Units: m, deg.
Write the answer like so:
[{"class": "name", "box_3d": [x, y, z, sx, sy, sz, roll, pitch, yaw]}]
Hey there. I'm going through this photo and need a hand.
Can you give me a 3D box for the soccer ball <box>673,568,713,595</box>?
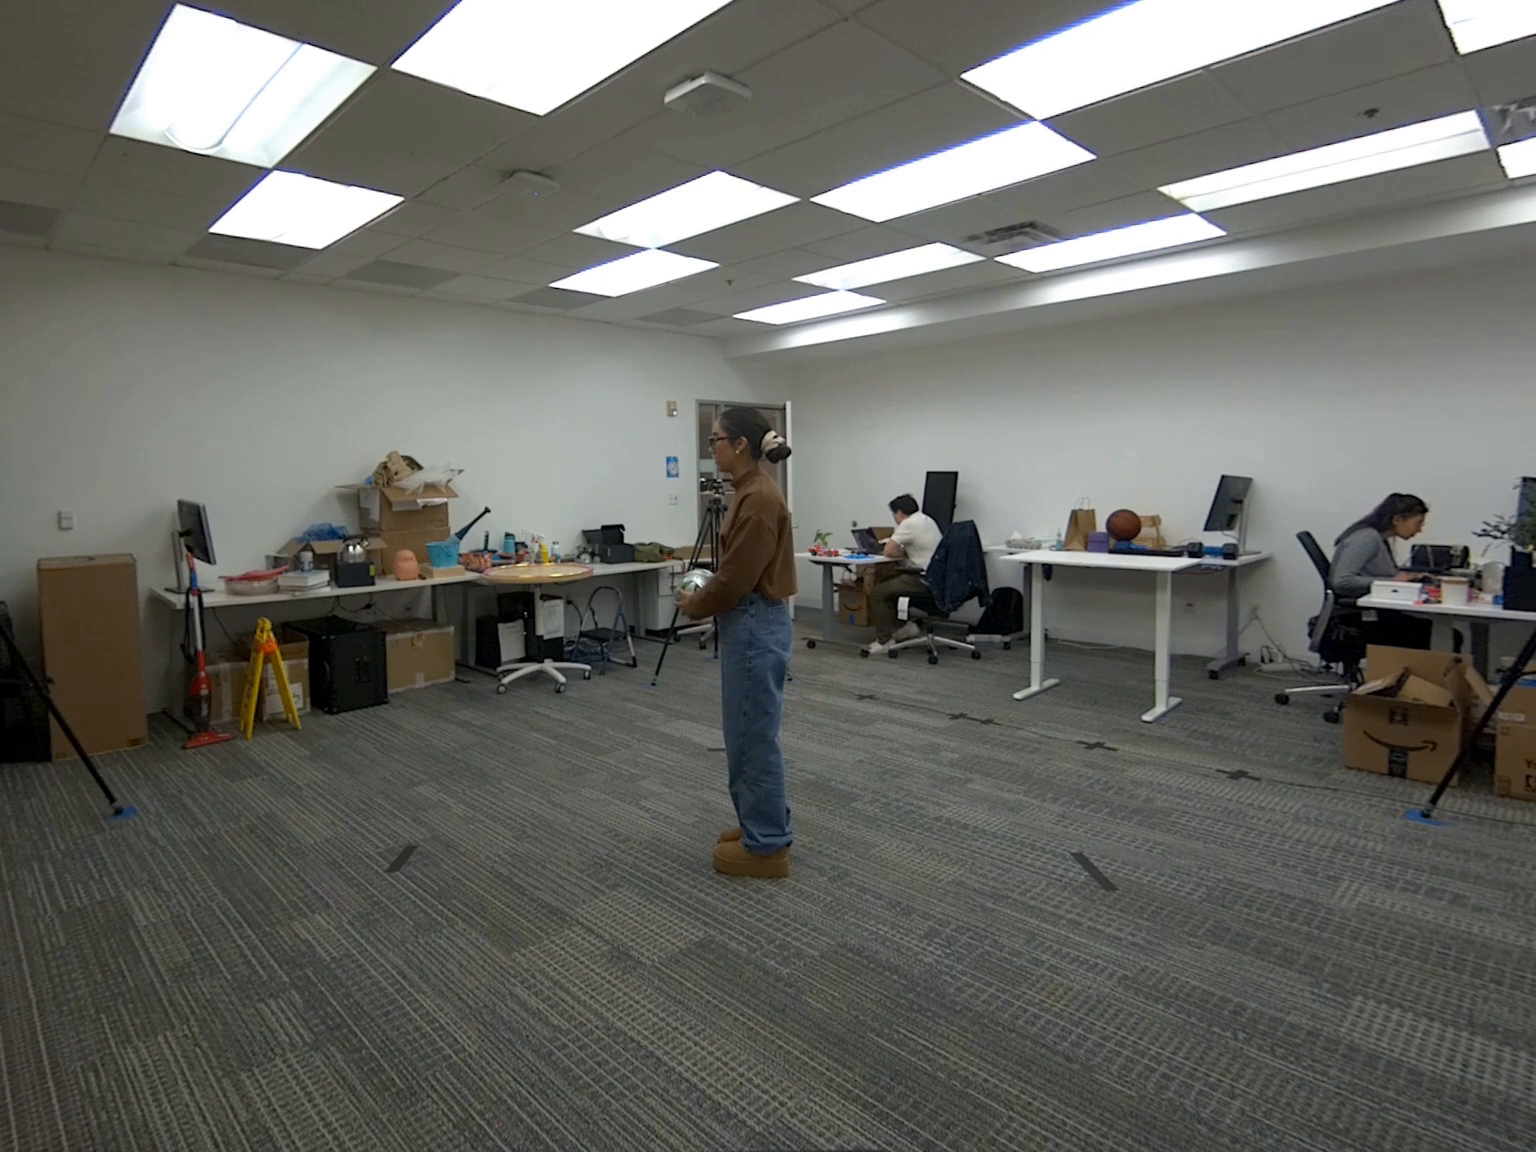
[{"class": "soccer ball", "box_3d": [-0.238, 0.065, 3.204, 0.187, 0.187, 0.188, -1, 5, -2]}]
